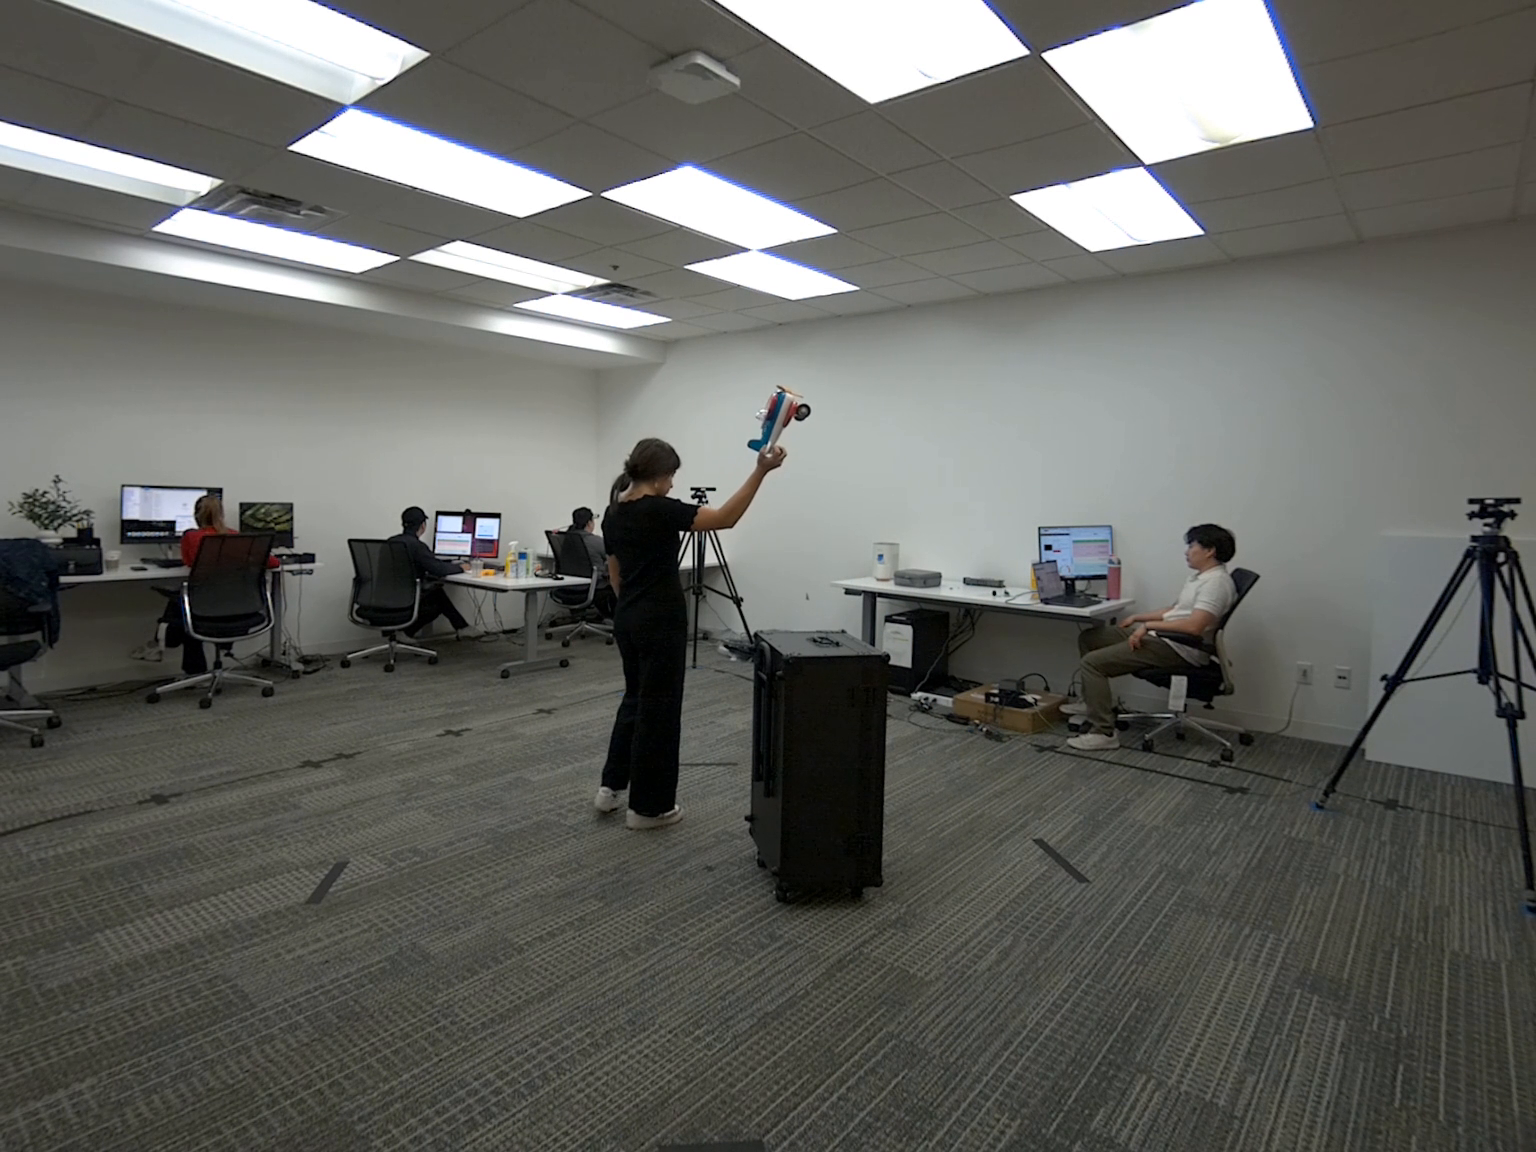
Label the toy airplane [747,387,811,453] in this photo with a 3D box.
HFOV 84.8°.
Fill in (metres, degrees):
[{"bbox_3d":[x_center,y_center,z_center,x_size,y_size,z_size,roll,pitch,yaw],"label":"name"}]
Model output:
[{"bbox_3d":[0.036,-0.568,3.142,0.156,0.260,0.251,36,-28,-4],"label":"toy airplane"}]
